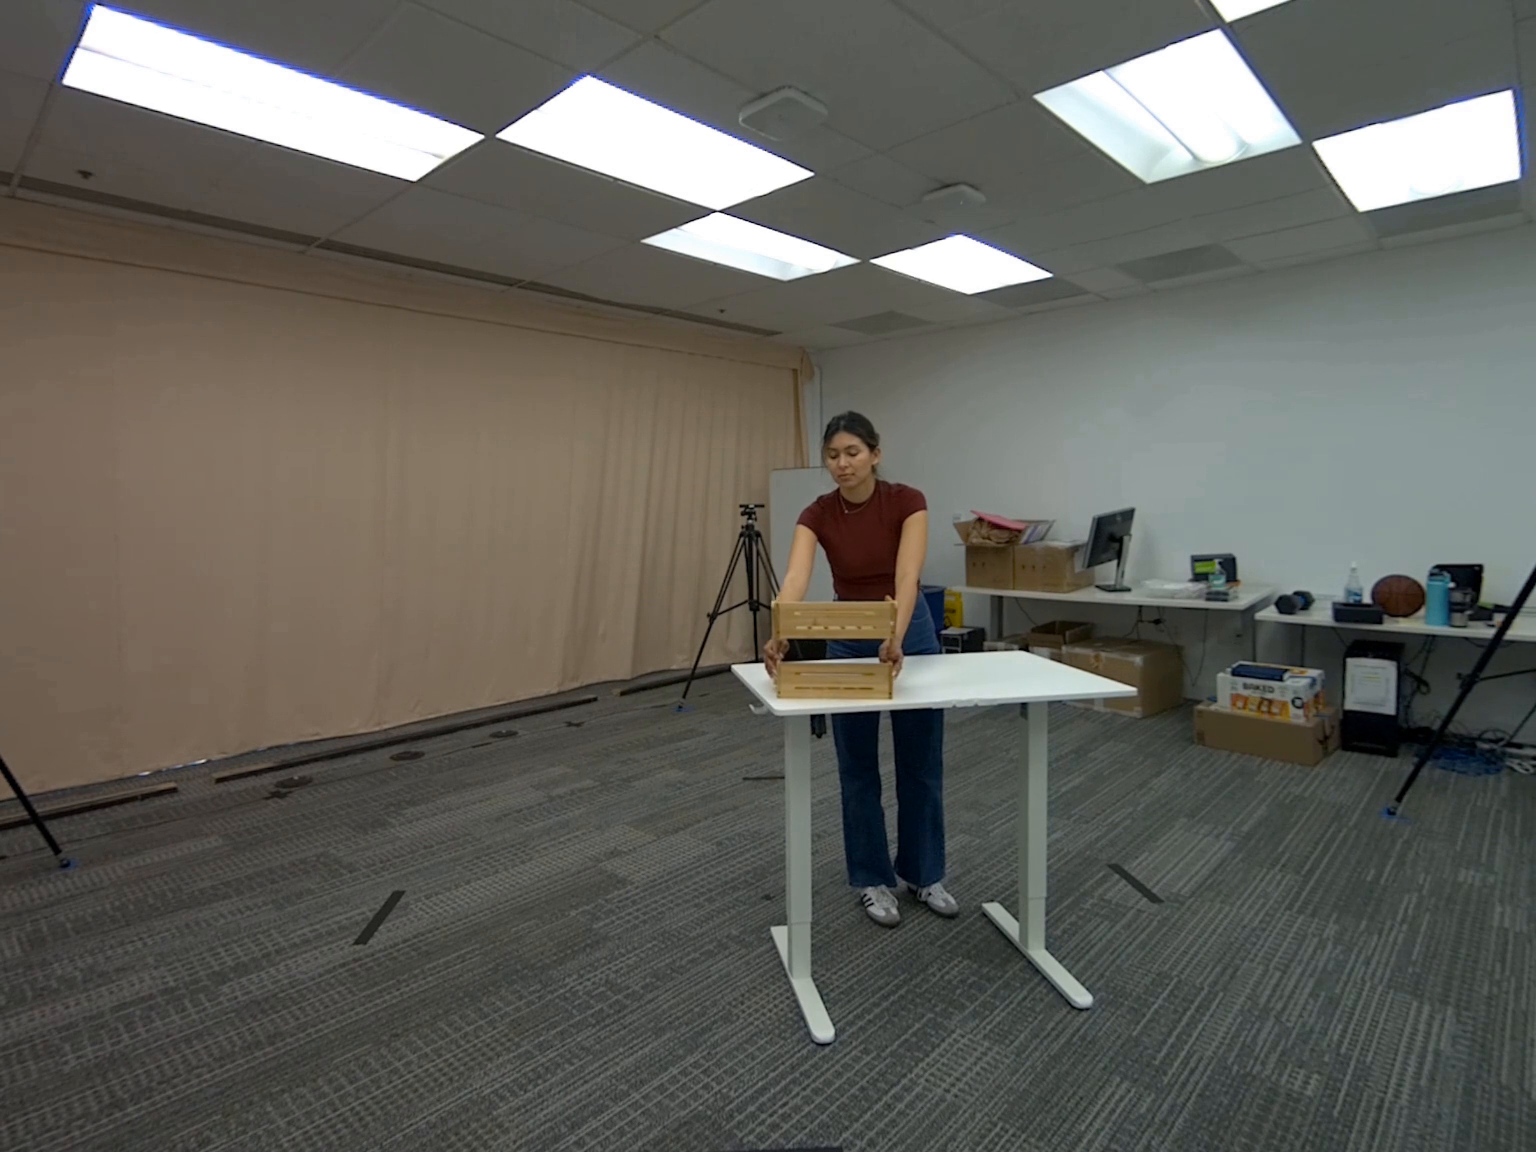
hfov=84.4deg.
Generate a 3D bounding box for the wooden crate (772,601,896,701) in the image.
[{"bbox_3d":[0.183,0.182,2.296,0.326,0.272,0.301,-1,4,4],"label":"wooden crate"}]
